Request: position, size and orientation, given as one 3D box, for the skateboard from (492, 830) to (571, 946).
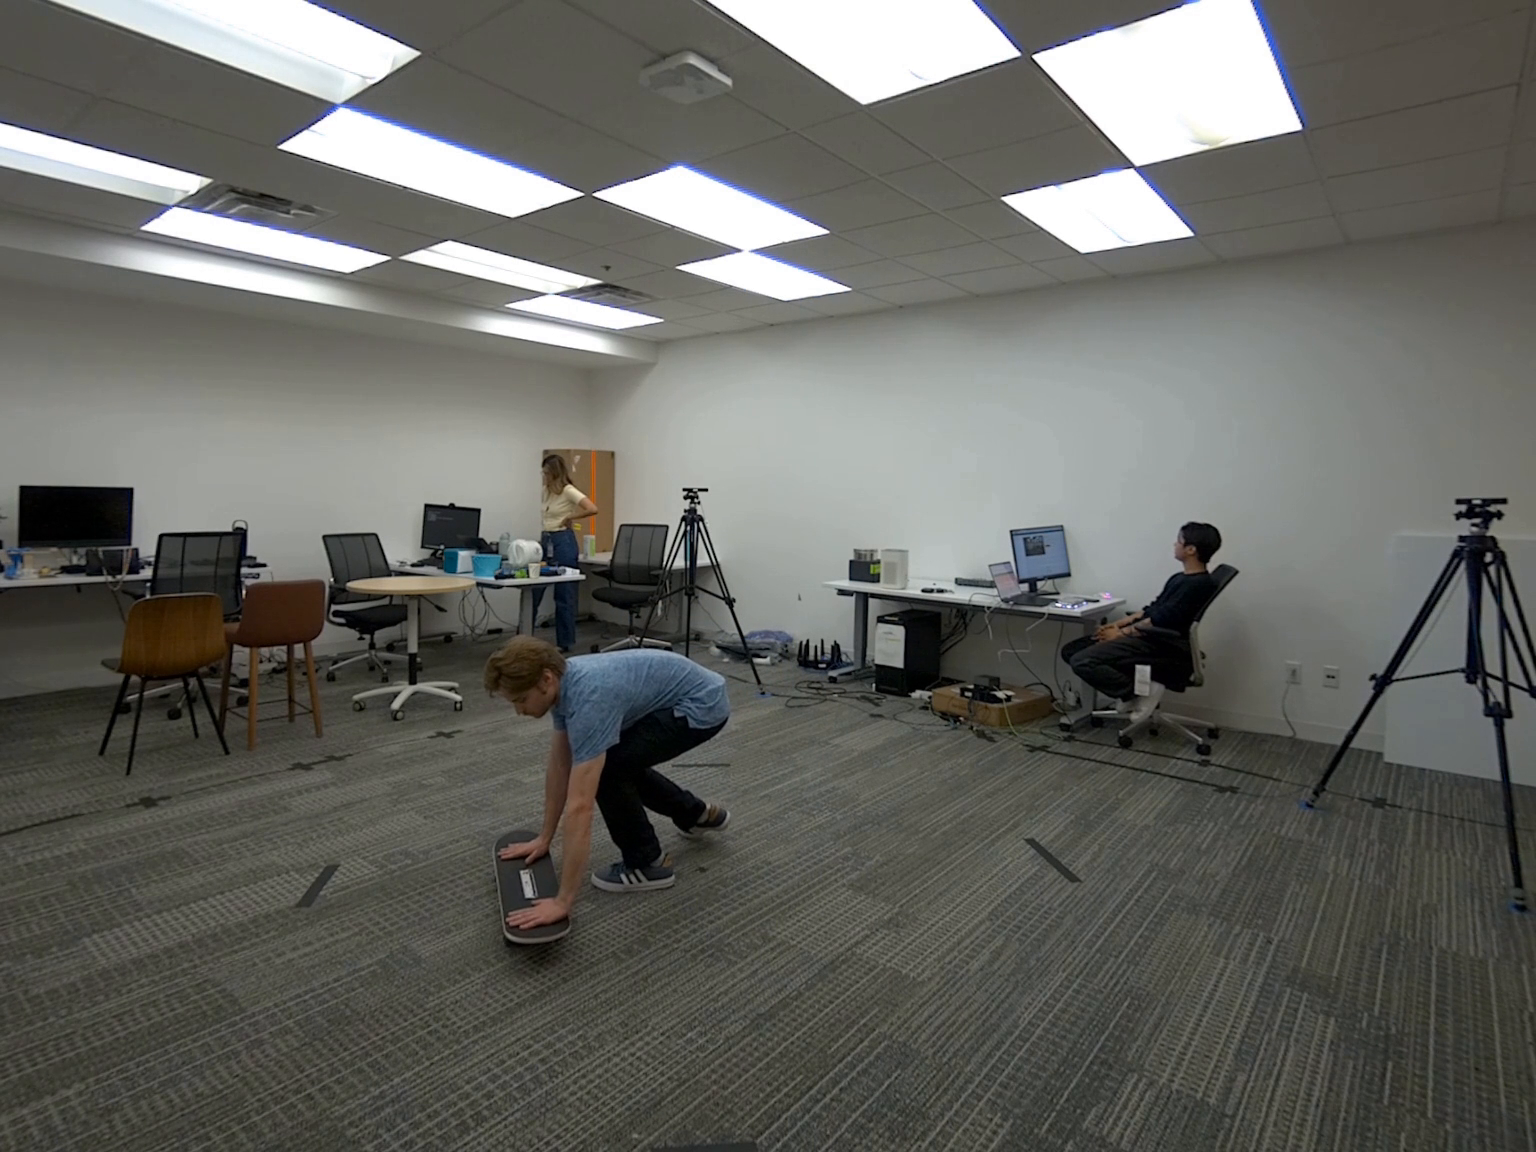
[{"bbox_3d":[-0.791,1.036,2.788,0.190,0.110,0.804,-2,6,-21],"label":"skateboard"}]
